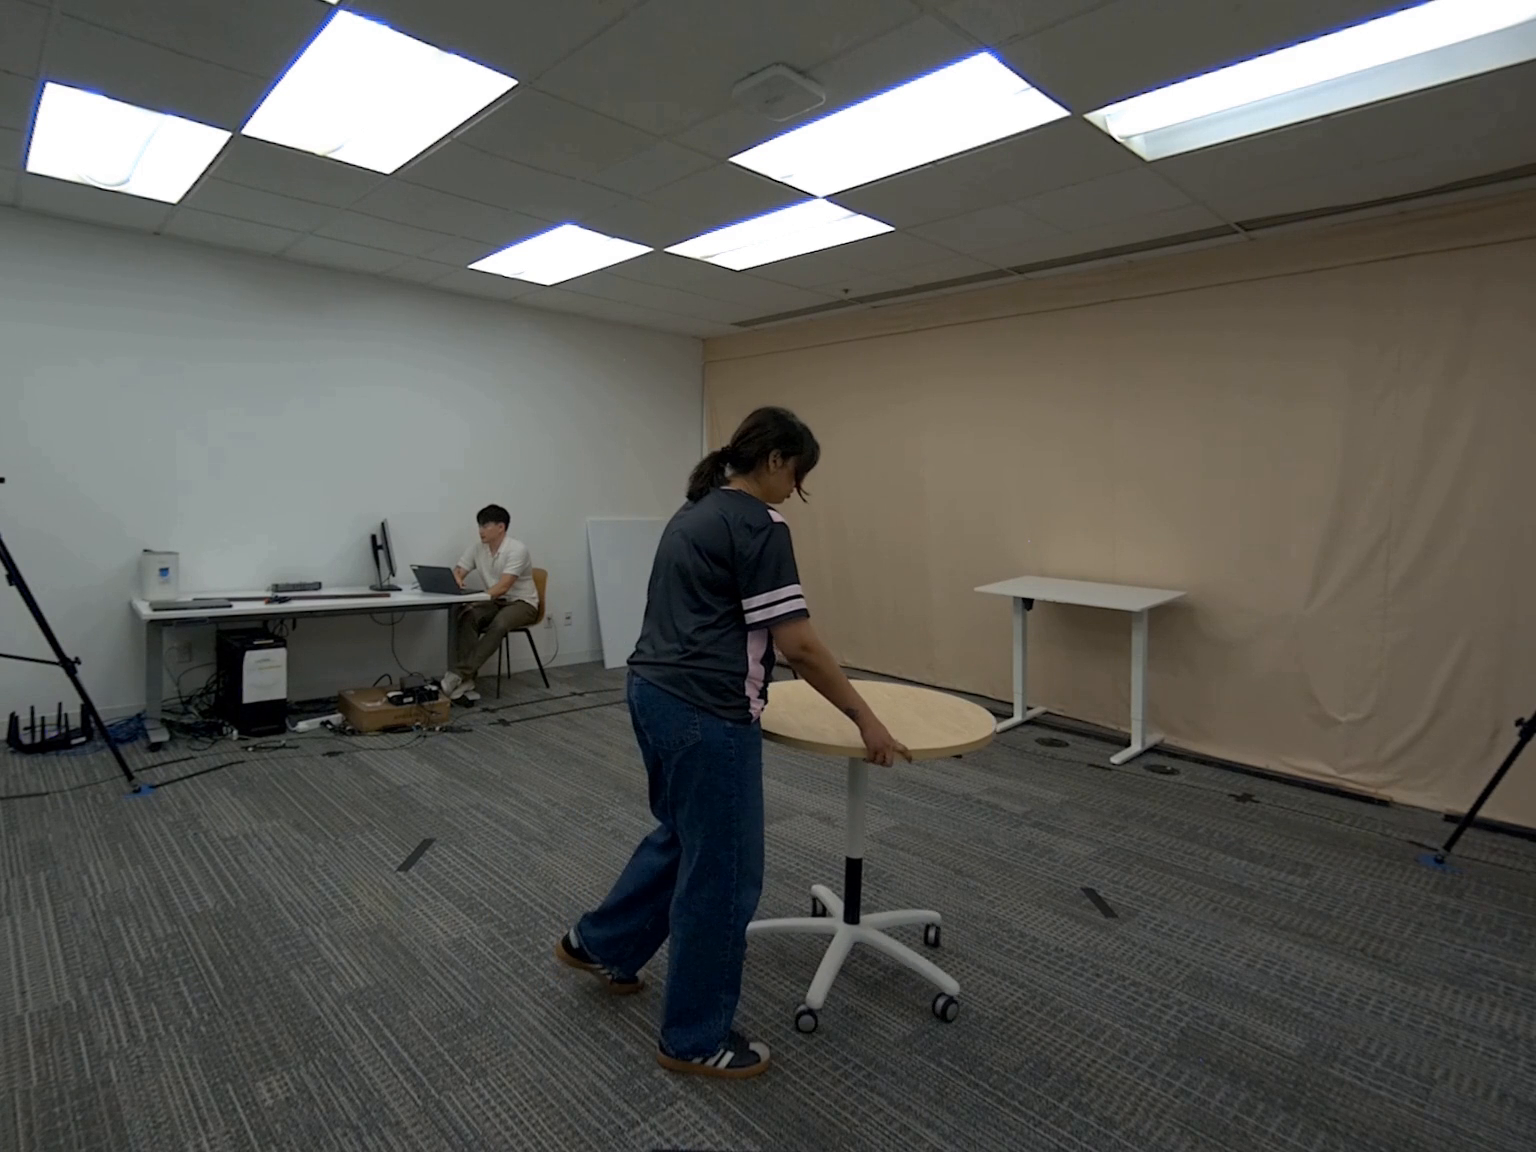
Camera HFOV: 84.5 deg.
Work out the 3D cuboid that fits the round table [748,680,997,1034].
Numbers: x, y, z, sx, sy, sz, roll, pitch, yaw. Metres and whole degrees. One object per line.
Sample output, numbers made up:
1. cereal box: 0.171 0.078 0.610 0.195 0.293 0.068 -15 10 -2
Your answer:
1. round table: 0.238 0.775 2.500 0.784 0.784 0.788 2 5 -2
